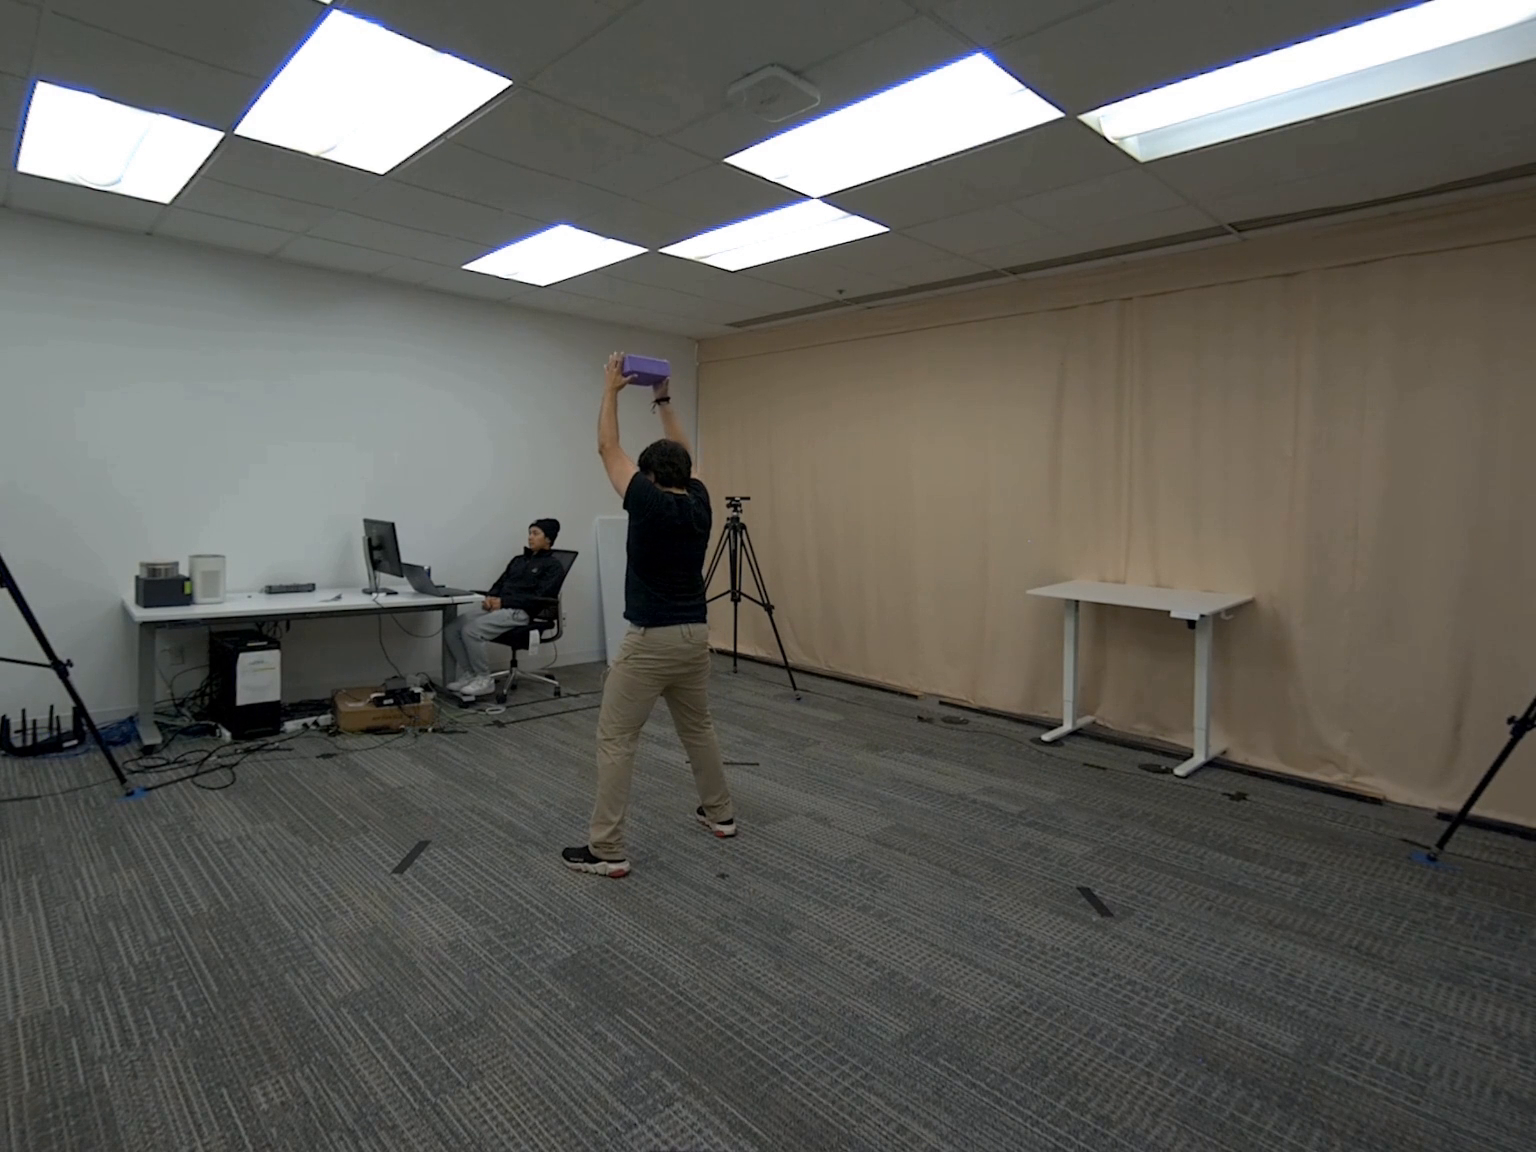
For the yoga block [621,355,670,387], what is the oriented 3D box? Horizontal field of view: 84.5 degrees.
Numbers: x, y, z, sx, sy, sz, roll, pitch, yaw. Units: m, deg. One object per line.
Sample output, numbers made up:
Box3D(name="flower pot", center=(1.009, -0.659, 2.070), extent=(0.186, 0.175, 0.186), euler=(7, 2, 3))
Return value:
Box3D(name="yoga block", center=(-0.545, -0.849, 3.479), extent=(0.152, 0.077, 0.224), euler=(-12, -5, 42))
